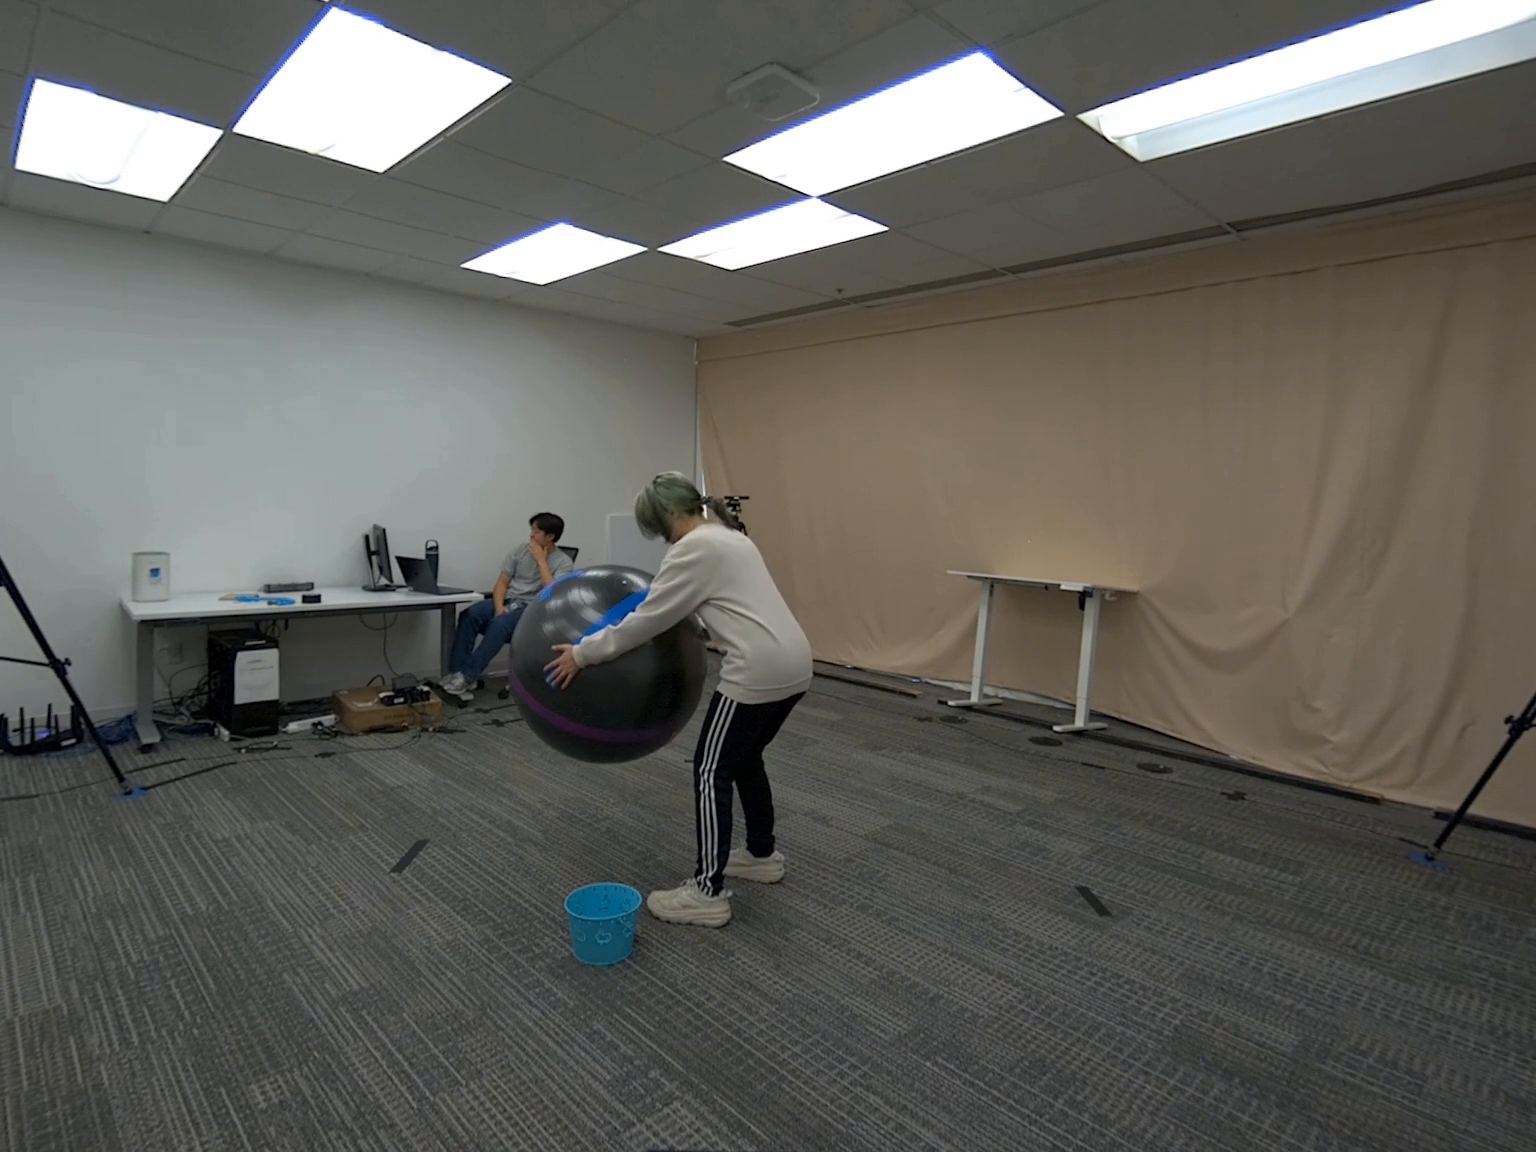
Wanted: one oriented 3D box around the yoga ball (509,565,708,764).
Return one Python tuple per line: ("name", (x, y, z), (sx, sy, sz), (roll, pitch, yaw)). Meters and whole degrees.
("yoga ball", (-0.619, 0.343, 3.252), (0.757, 0.756, 0.761), (1, 4, -1))
